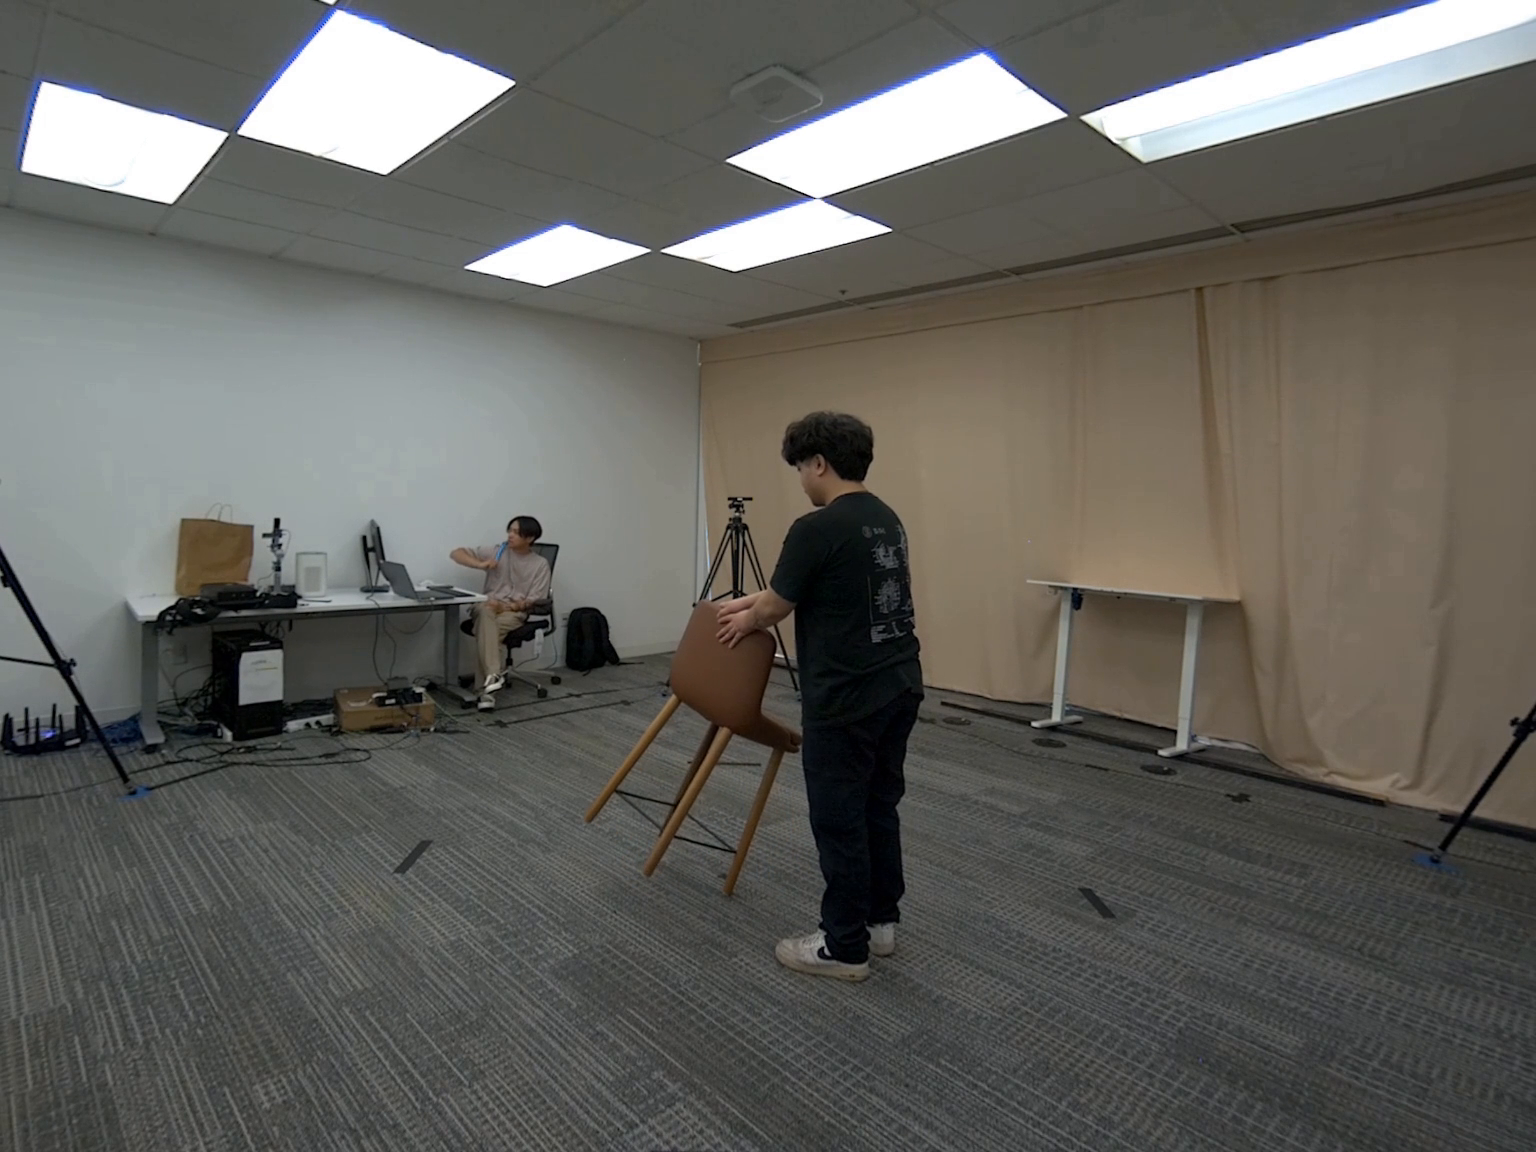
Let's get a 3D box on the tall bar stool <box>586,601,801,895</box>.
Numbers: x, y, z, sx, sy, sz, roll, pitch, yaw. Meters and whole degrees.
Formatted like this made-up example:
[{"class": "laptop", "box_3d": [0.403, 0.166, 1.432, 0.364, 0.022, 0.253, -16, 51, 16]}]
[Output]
[{"class": "tall bar stool", "box_3d": [-0.203, 0.596, 2.985, 0.470, 0.891, 0.453, 21, -8, 43]}]
